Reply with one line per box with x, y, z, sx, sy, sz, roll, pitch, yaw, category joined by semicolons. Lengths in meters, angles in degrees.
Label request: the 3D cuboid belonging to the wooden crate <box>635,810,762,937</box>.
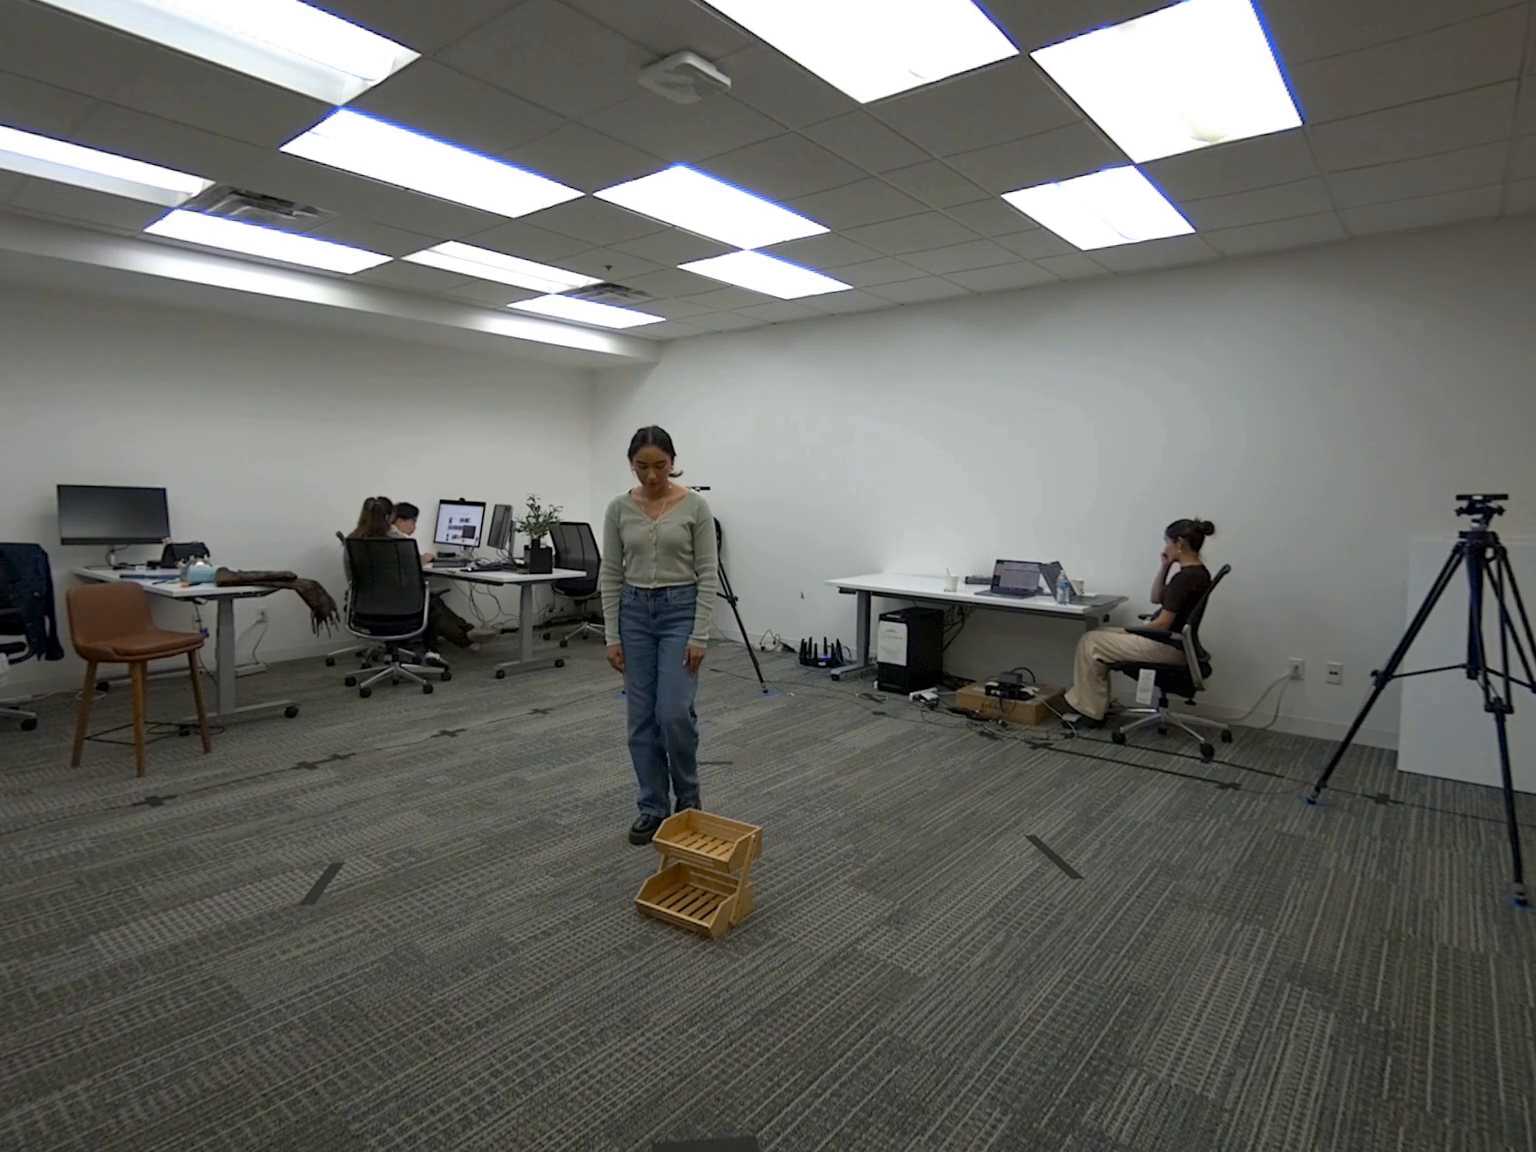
-0.236;0.960;2.790;0.334;0.273;0.294;3;3;30;wooden crate
